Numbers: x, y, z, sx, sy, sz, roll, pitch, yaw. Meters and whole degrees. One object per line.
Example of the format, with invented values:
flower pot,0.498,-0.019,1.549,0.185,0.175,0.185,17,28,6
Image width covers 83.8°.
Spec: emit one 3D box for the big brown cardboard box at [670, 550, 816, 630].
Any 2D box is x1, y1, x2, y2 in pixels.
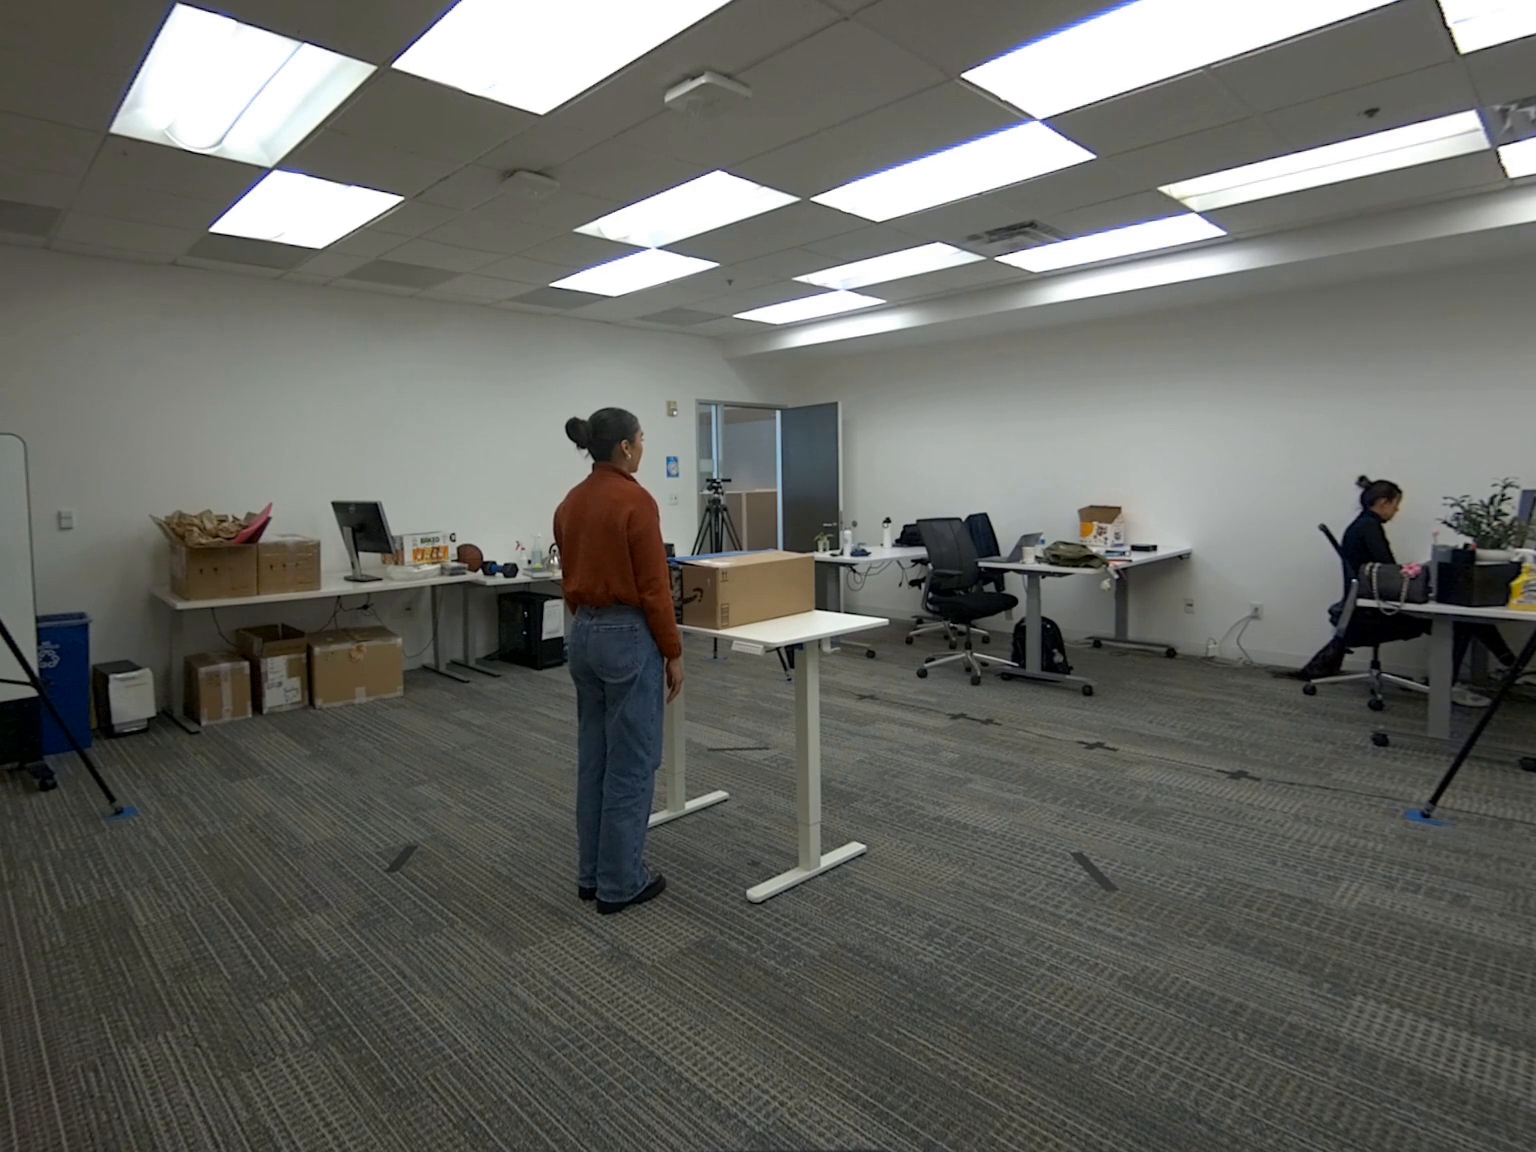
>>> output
big brown cardboard box,-0.155,0.038,3.246,0.430,0.232,0.573,3,6,40
